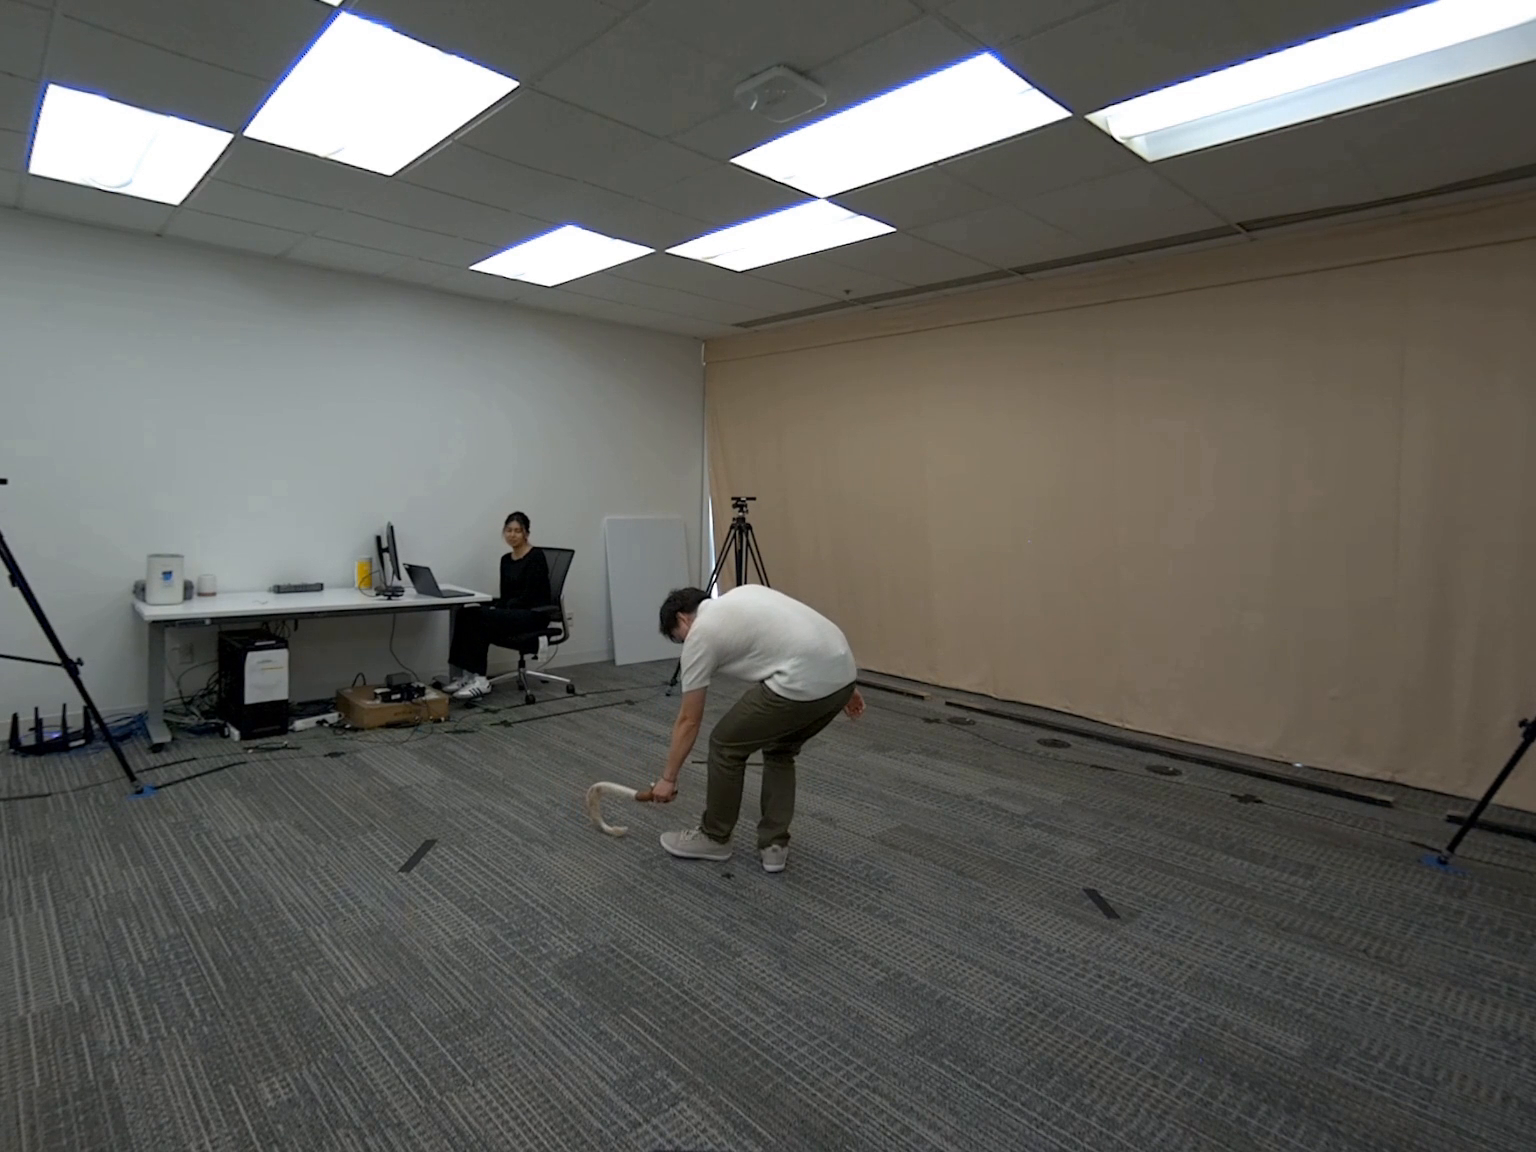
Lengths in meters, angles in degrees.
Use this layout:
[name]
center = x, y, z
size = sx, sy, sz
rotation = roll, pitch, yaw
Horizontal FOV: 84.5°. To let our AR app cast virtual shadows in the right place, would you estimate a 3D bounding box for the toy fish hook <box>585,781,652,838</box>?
[toy fish hook]
center = -0.550, 0.931, 3.379
size = 0.515, 0.224, 0.047
rotation = -13, 4, 35
